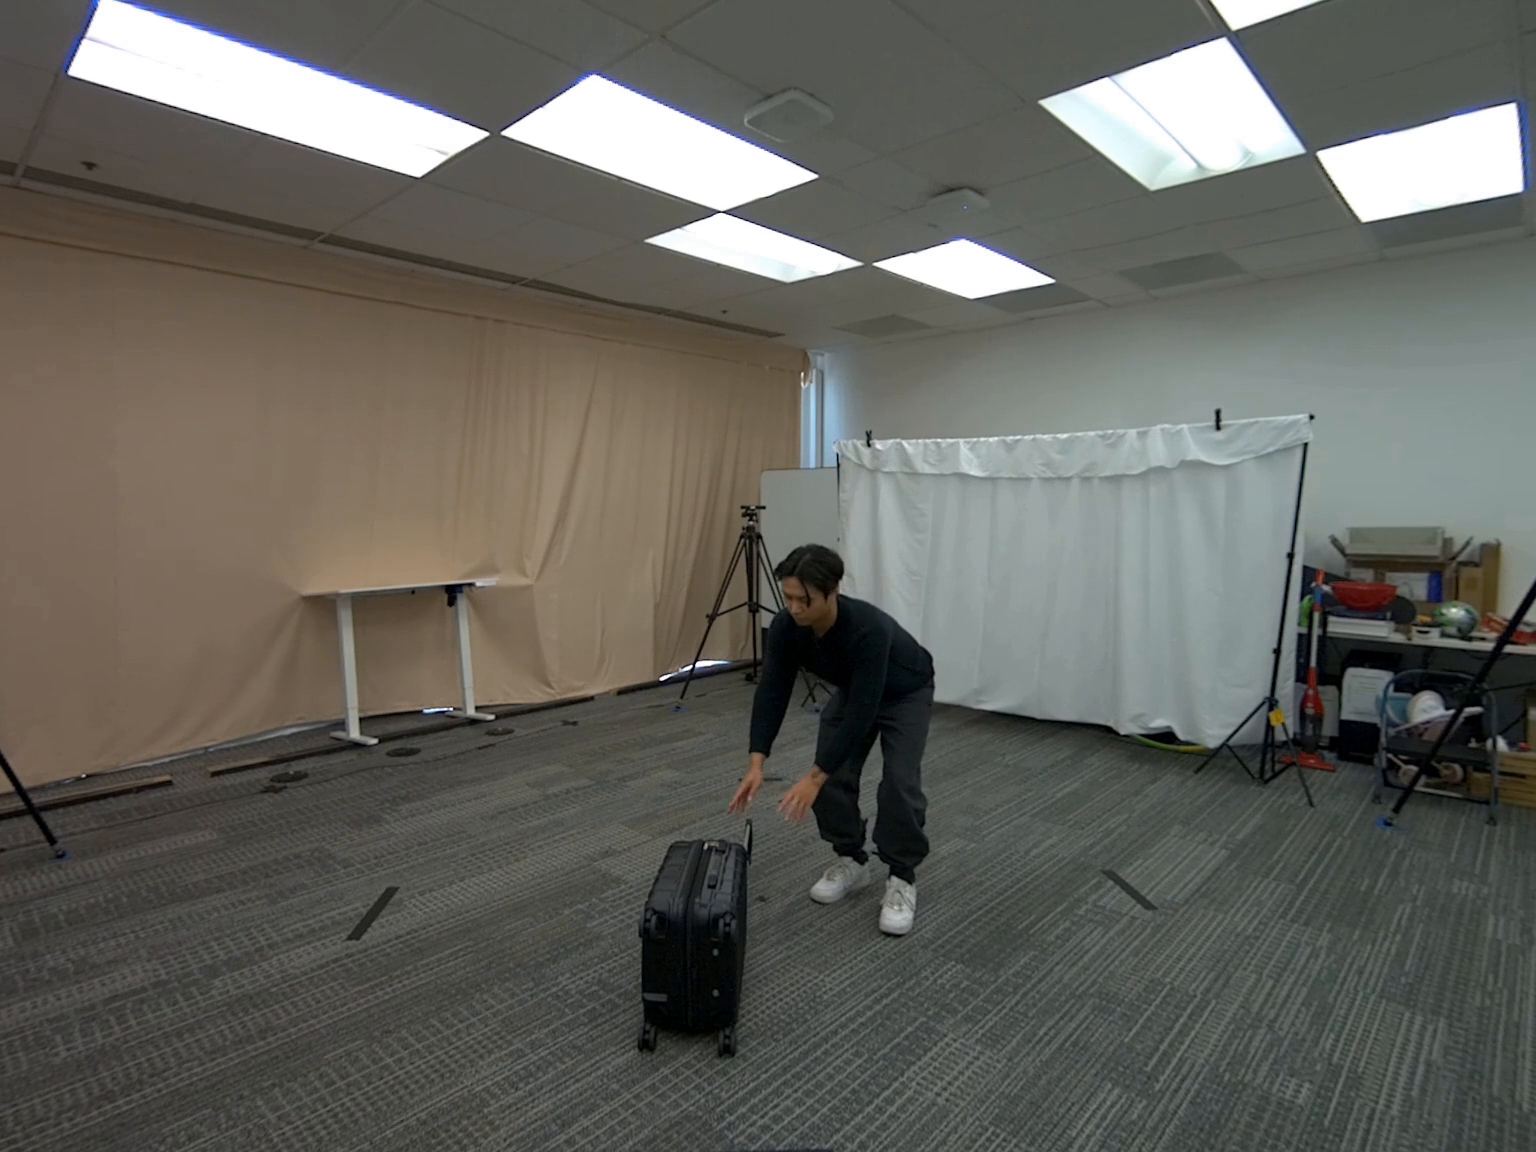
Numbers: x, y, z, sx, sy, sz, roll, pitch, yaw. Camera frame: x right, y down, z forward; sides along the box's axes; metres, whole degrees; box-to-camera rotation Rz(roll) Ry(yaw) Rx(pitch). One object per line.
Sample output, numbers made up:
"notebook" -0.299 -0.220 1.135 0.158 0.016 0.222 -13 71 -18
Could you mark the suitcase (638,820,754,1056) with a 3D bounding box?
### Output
"suitcase" -0.195 0.991 2.597 0.258 0.383 0.978 1 4 1
